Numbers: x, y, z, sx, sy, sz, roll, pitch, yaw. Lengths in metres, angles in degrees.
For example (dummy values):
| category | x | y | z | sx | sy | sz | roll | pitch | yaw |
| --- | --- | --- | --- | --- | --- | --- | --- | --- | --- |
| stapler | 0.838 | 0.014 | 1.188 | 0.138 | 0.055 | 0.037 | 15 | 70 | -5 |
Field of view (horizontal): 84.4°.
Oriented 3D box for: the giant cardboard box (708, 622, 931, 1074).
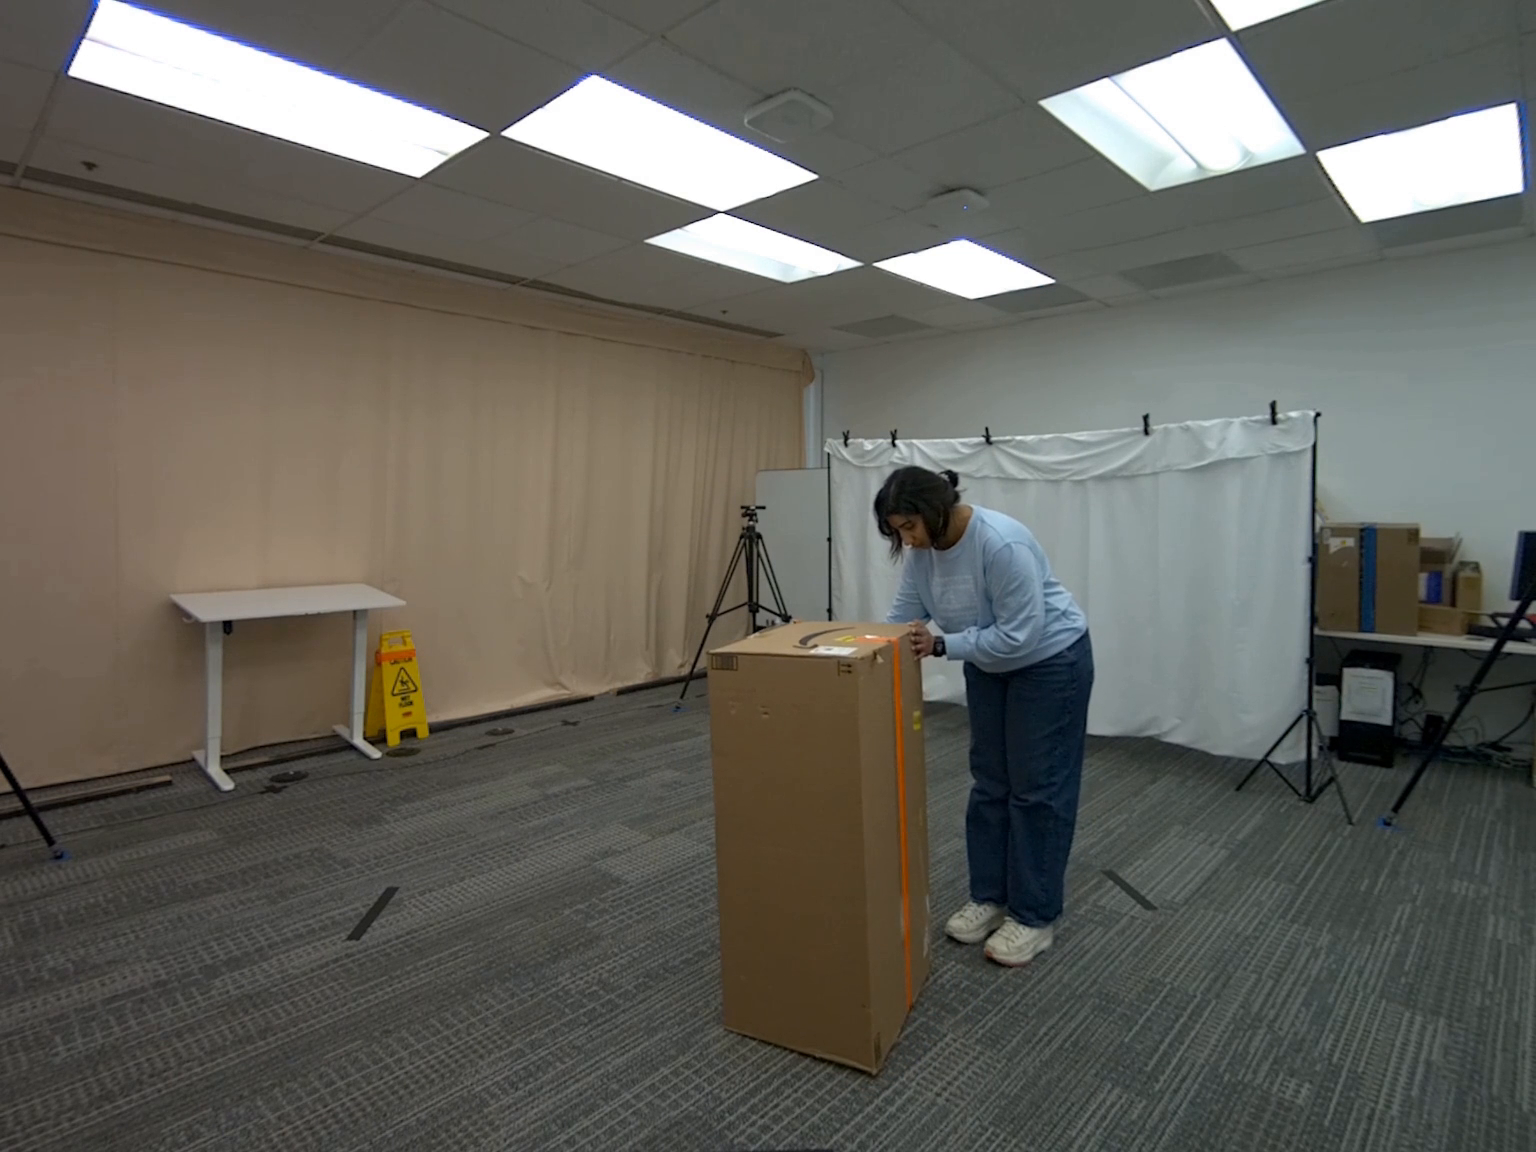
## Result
| category | x | y | z | sx | sy | sz | roll | pitch | yaw |
| --- | --- | --- | --- | --- | --- | --- | --- | --- | --- |
| giant cardboard box | 0.170 | 0.687 | 2.367 | 0.437 | 1.024 | 0.563 | -1 | 3 | 27 |
